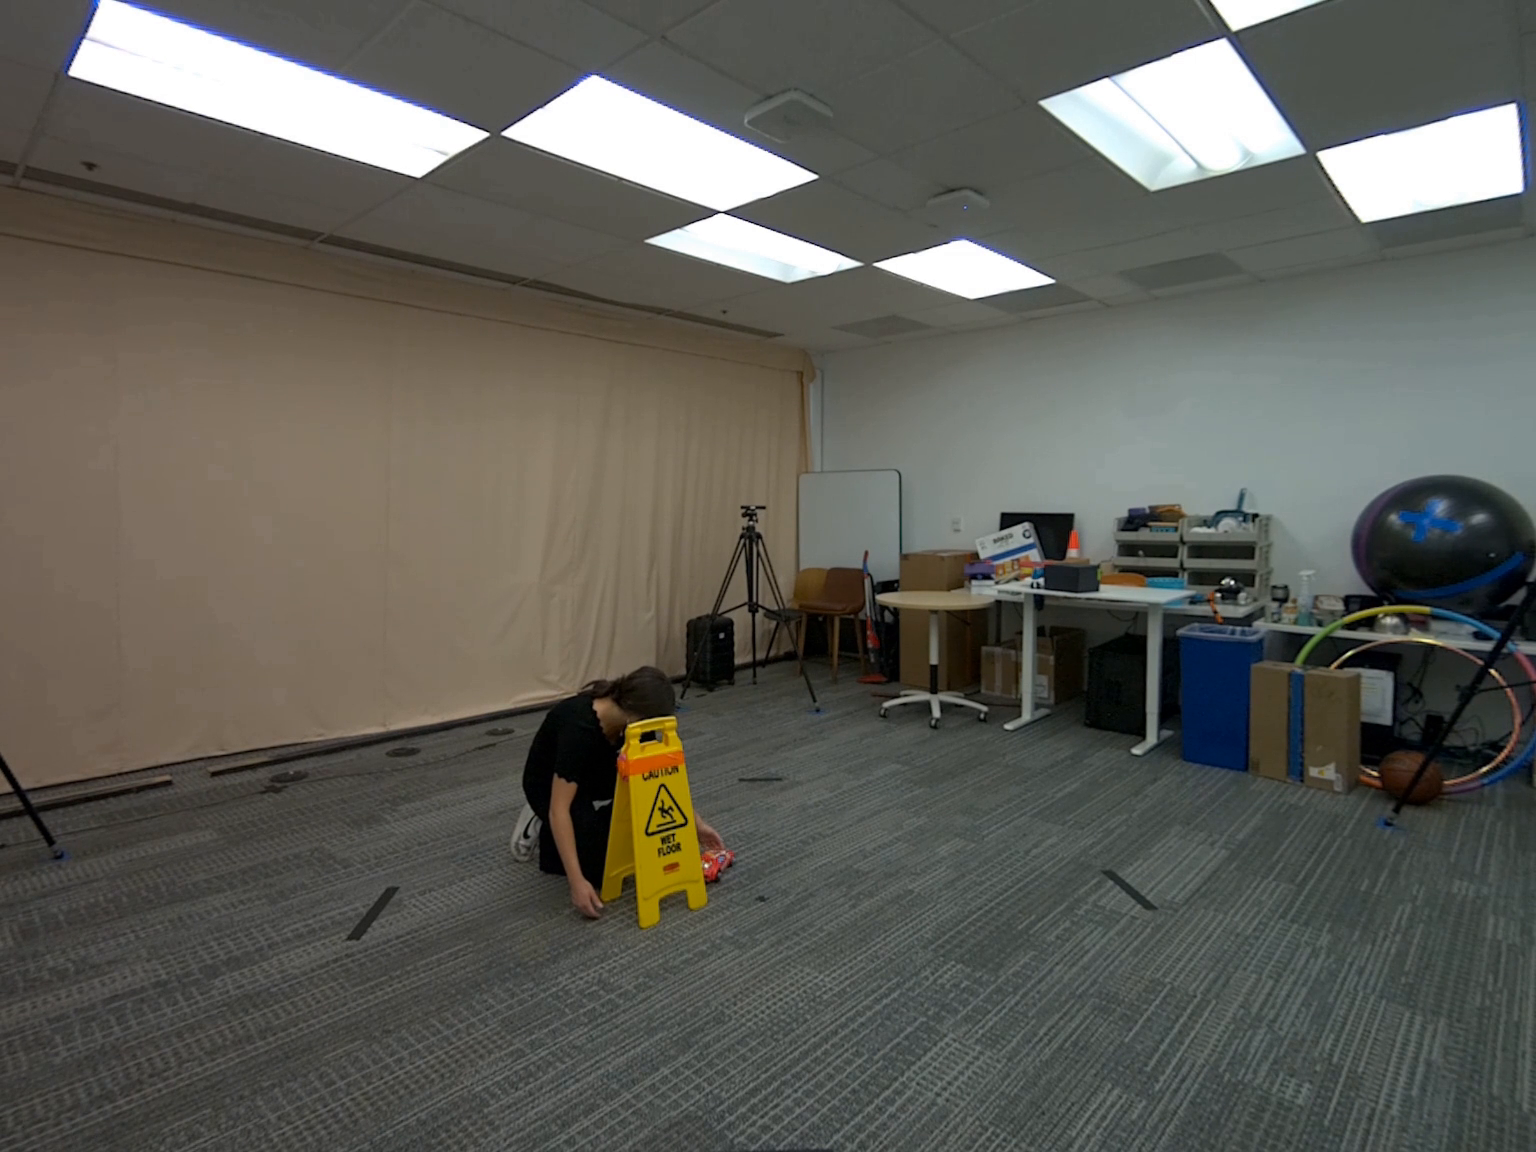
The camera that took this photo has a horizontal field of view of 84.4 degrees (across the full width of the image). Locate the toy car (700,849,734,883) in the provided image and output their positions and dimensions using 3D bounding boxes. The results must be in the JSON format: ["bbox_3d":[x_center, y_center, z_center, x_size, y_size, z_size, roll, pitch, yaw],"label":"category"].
[{"bbox_3d":[-0.217,1.095,3.189,0.133,0.083,0.248,1,-5,21],"label":"toy car"}]
